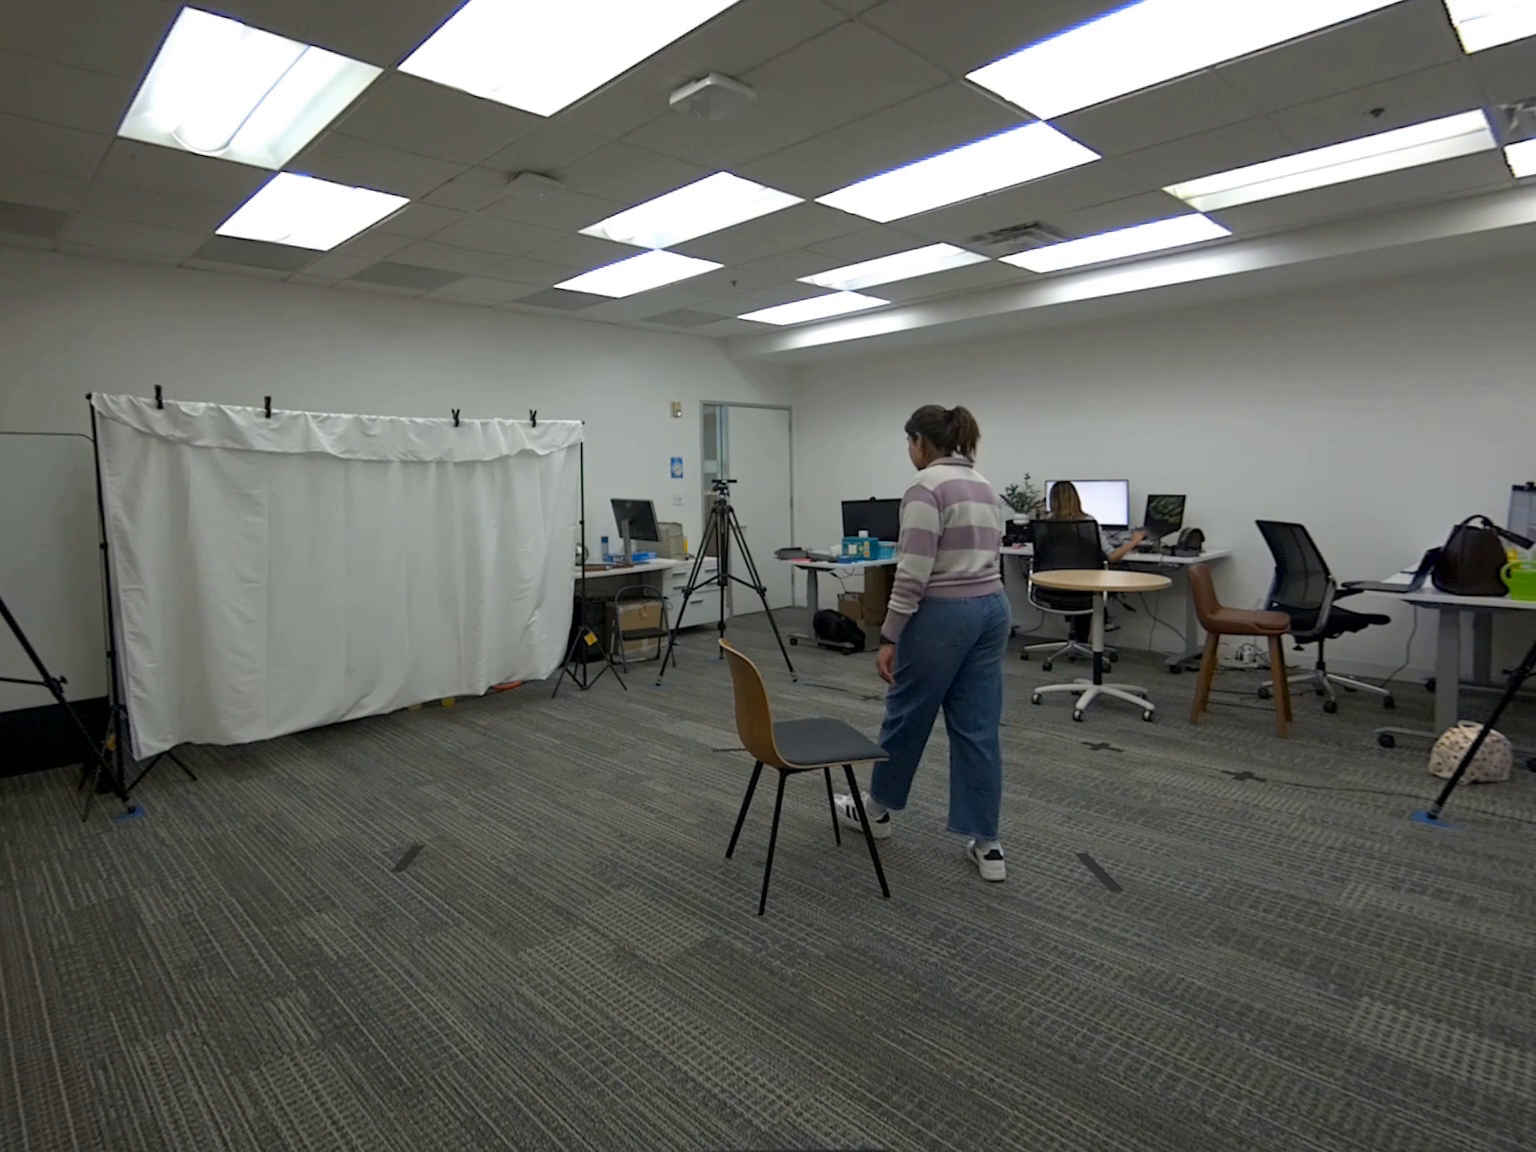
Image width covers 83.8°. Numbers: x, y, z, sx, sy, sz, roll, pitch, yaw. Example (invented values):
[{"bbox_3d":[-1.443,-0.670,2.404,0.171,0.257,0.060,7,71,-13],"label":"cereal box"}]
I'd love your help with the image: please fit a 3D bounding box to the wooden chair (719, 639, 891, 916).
[{"bbox_3d":[0.126,0.632,2.972,0.516,0.874,0.486,-6,5,-15],"label":"wooden chair"}]
